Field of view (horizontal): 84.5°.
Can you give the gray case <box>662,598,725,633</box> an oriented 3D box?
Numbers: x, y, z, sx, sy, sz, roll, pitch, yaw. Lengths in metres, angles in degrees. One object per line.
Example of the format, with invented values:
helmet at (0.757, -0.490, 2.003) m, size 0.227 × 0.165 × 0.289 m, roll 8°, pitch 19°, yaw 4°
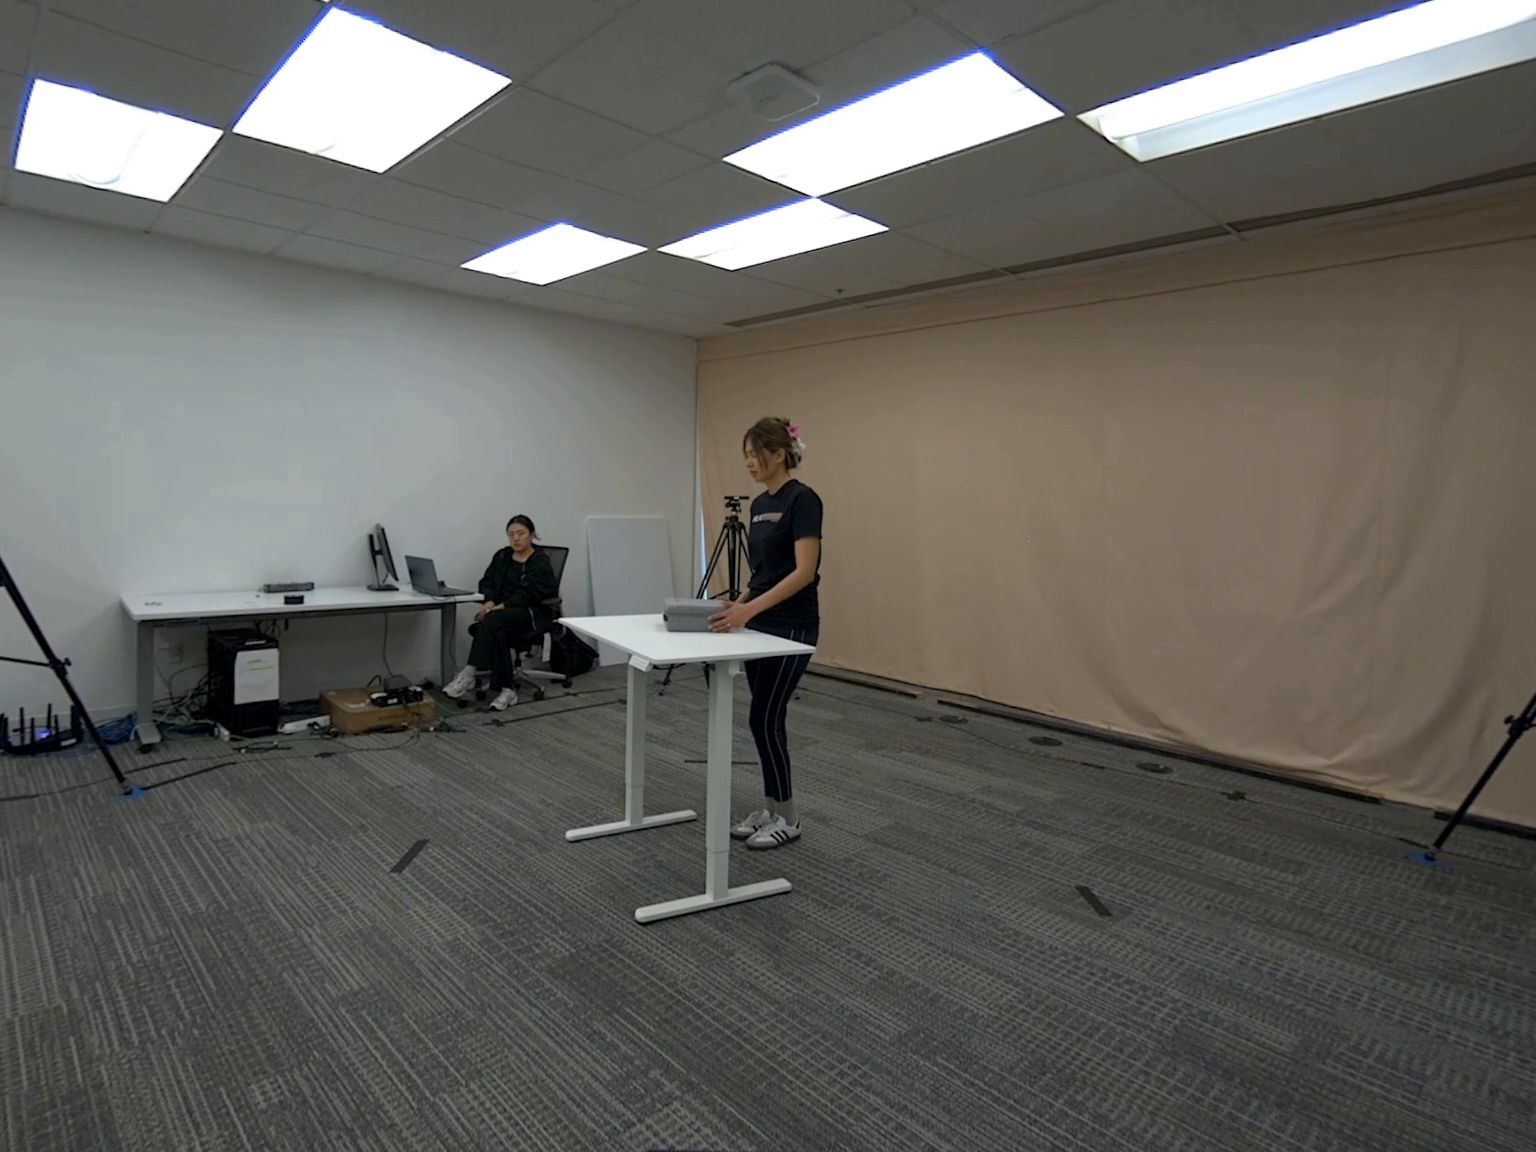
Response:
gray case at (-0.290, 0.150, 3.291) m, size 0.259 × 0.104 × 0.259 m, roll 1°, pitch 4°, yaw -8°
